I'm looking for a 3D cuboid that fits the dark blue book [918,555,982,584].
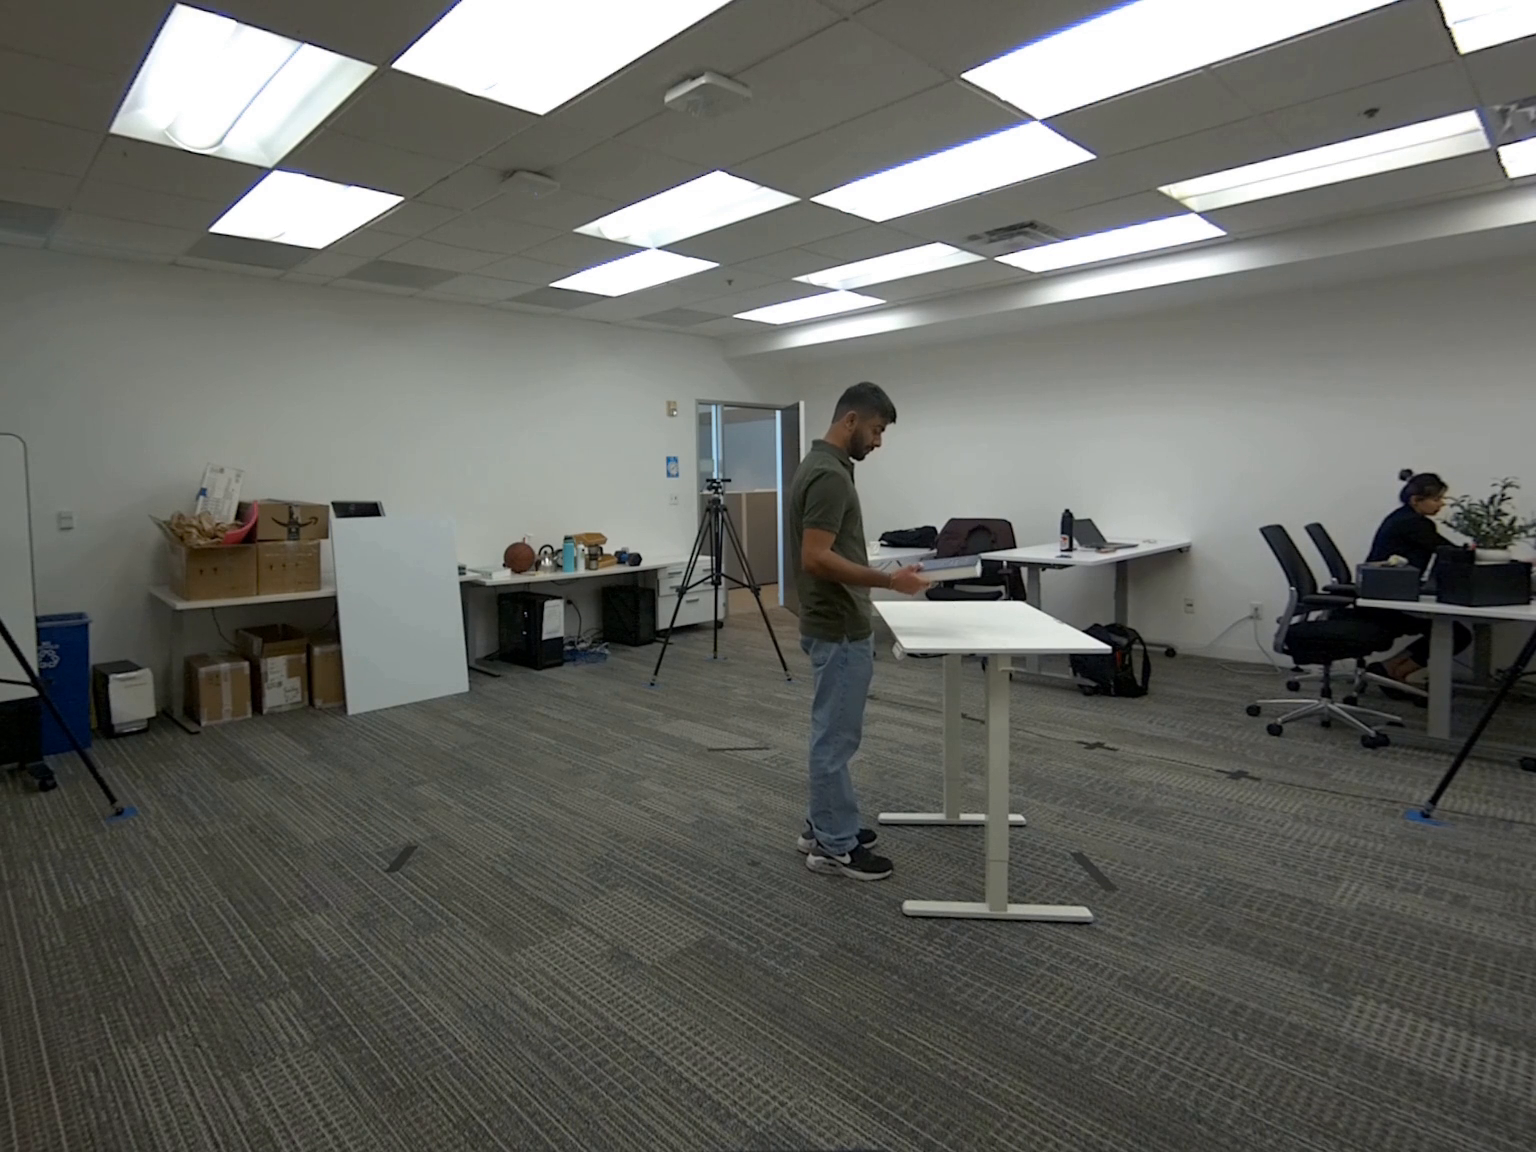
[{"bbox_3d":[0.574,-0.020,2.803,0.249,0.045,0.163,-5,13,17],"label":"dark blue book"}]
